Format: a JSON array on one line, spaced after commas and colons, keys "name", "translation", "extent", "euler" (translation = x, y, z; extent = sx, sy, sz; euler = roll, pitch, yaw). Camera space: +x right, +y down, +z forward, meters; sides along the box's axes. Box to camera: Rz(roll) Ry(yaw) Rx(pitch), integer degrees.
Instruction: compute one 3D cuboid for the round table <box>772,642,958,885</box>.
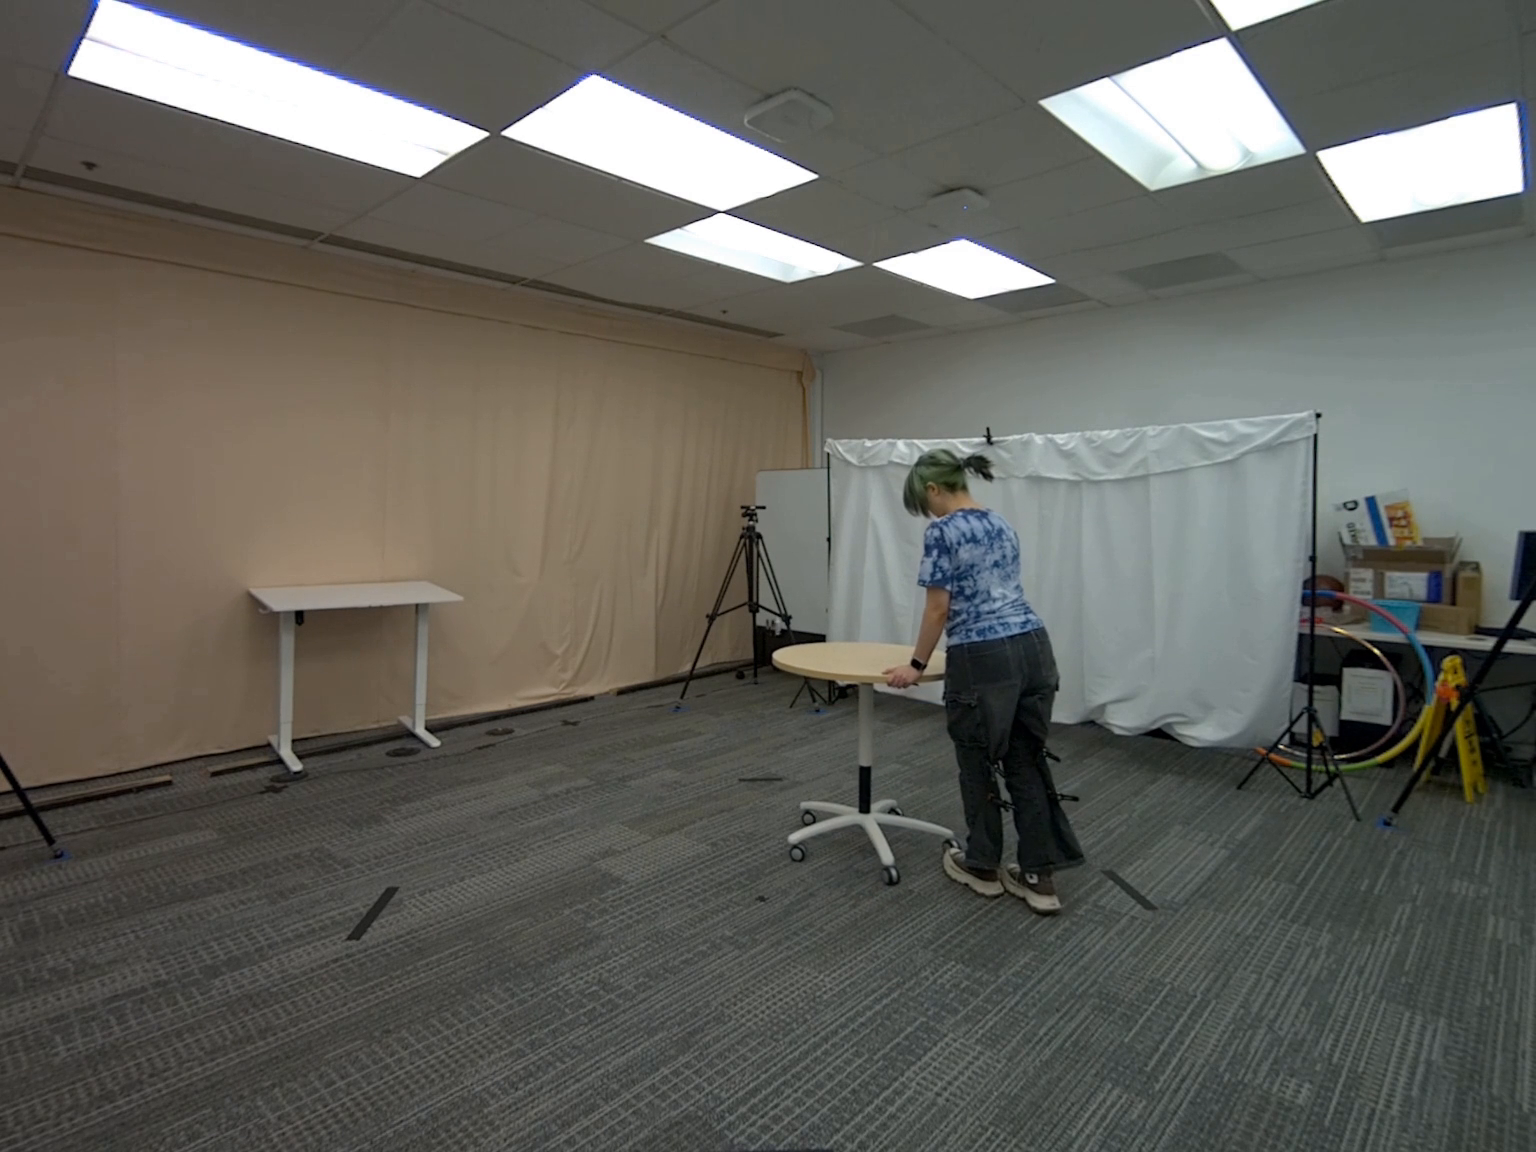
[{"name": "round table", "translation": [0.402, 0.719, 3.428], "extent": [0.763, 0.792, 0.766], "euler": [1, 3, -2]}]
